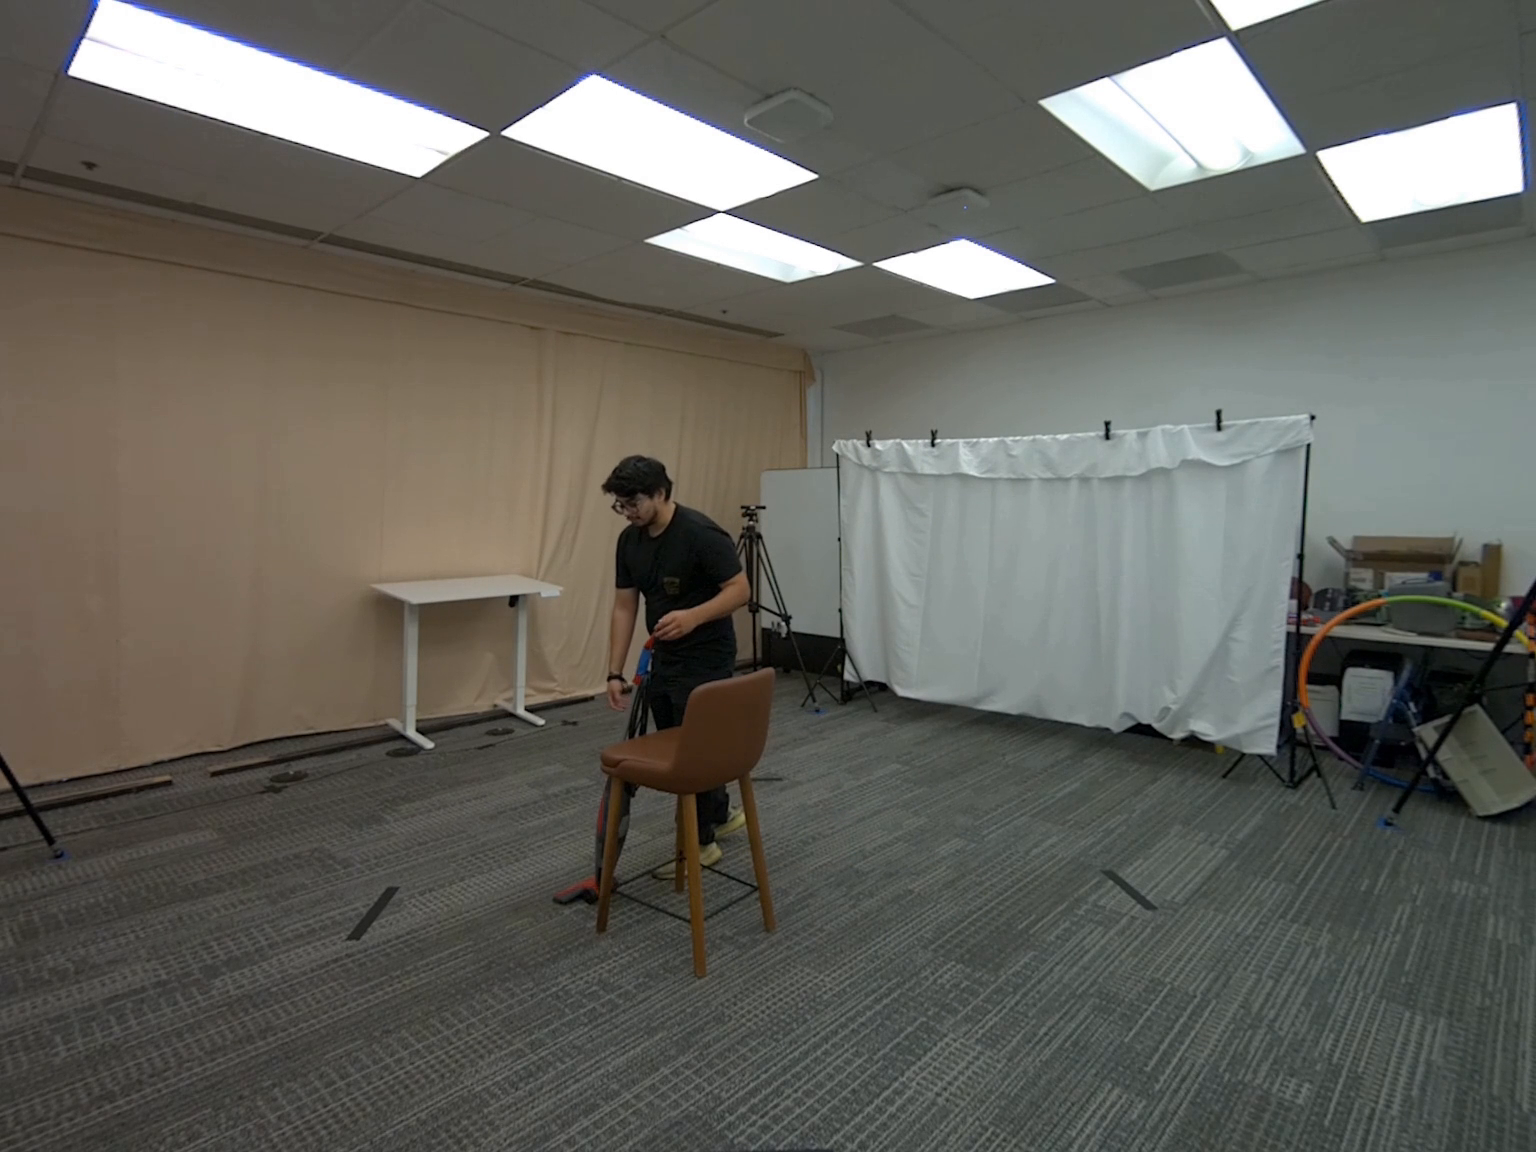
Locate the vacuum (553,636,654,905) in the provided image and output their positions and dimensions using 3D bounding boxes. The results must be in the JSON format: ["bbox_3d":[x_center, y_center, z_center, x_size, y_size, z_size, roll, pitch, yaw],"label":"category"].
[{"bbox_3d":[-0.497,0.660,2.906,0.148,1.044,0.246,24,17,27],"label":"vacuum"}]
